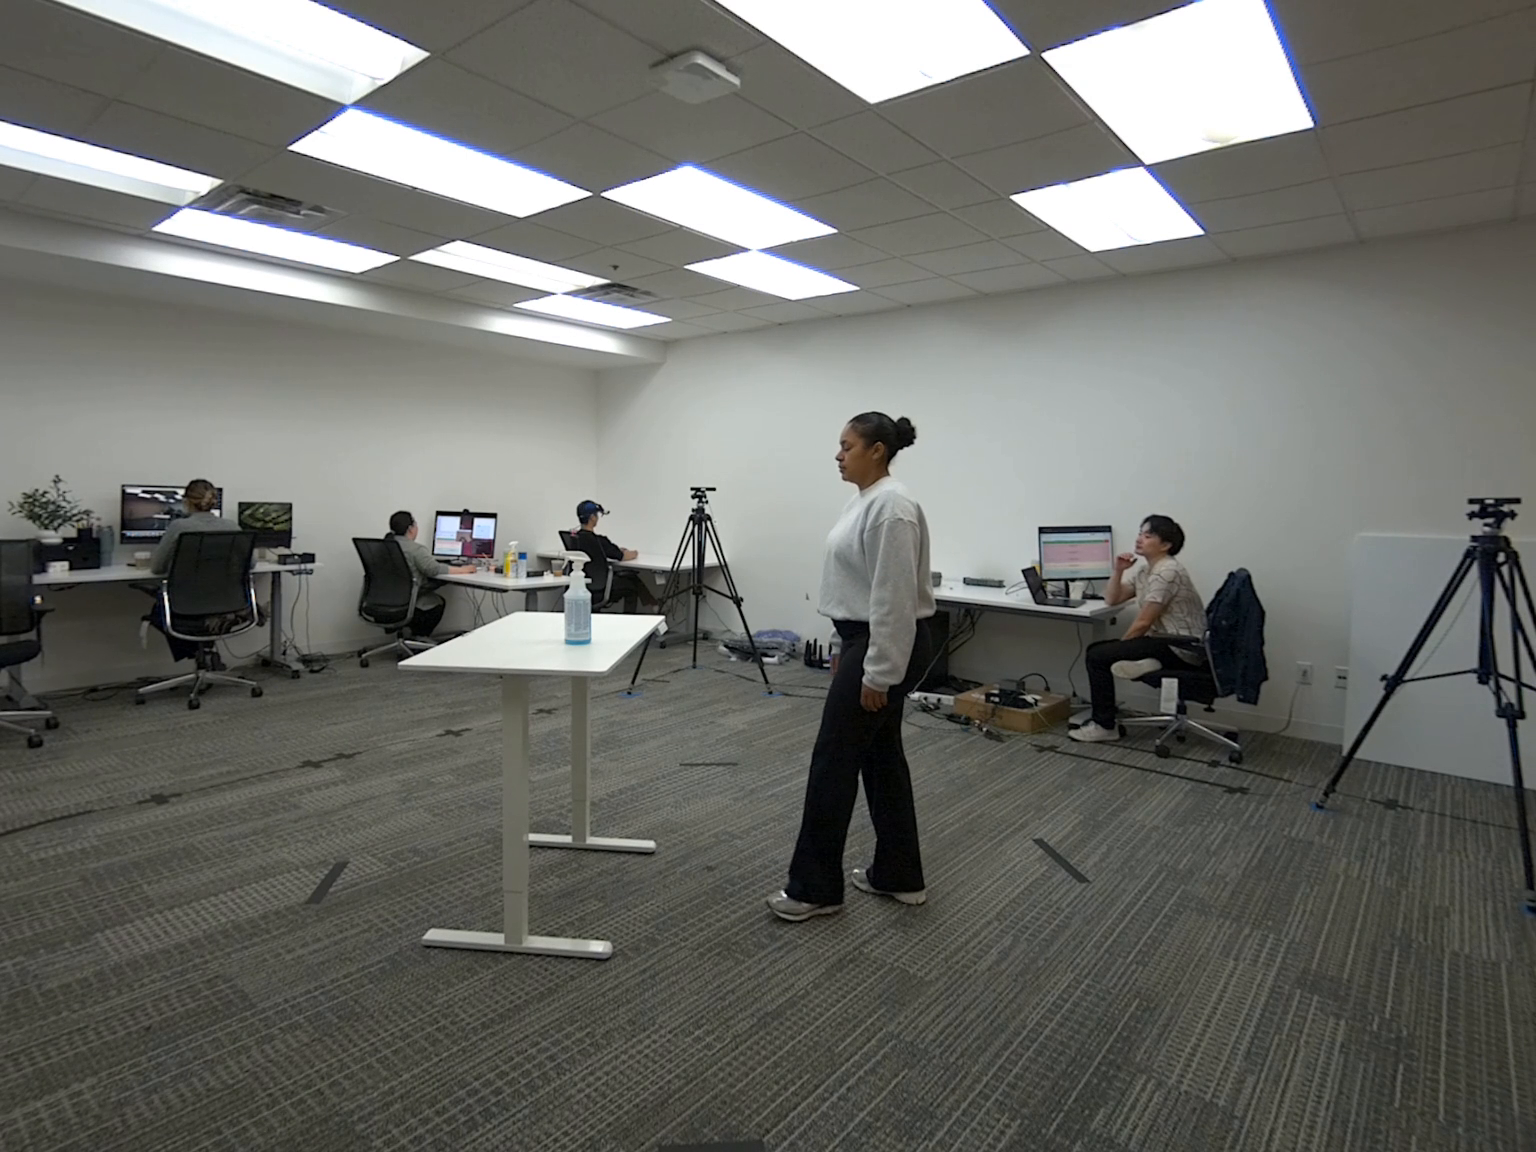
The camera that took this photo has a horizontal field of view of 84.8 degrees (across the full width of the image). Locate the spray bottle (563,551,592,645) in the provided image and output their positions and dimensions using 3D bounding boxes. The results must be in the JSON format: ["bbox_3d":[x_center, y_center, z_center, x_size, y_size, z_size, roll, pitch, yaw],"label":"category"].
[{"bbox_3d":[-0.624,0.070,2.744,0.091,0.296,0.087,0,4,6],"label":"spray bottle"}]
